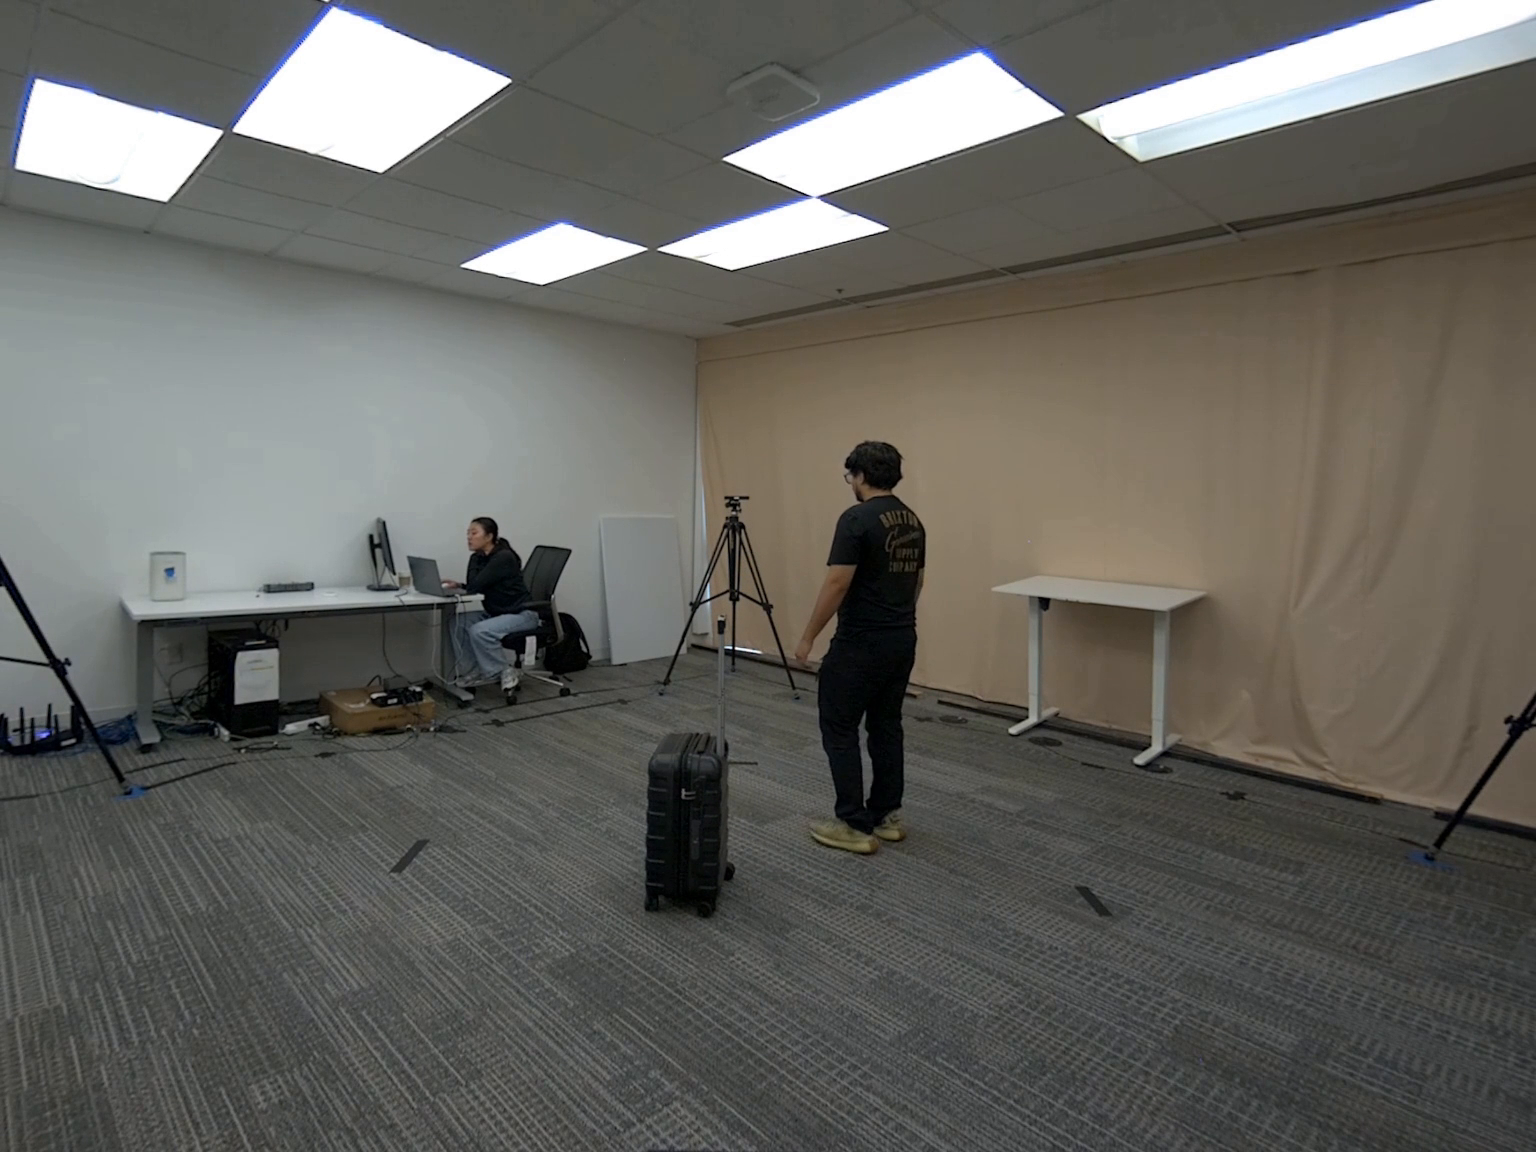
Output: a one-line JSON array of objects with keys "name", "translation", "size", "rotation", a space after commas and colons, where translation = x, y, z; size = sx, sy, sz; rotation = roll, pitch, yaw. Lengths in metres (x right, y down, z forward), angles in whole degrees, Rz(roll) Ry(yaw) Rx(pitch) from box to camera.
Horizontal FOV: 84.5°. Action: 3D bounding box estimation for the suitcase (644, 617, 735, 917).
[{"name": "suitcase", "translation": [-0.277, 0.641, 2.920], "size": [0.258, 0.976, 0.384], "rotation": [-1, 3, 3]}]
